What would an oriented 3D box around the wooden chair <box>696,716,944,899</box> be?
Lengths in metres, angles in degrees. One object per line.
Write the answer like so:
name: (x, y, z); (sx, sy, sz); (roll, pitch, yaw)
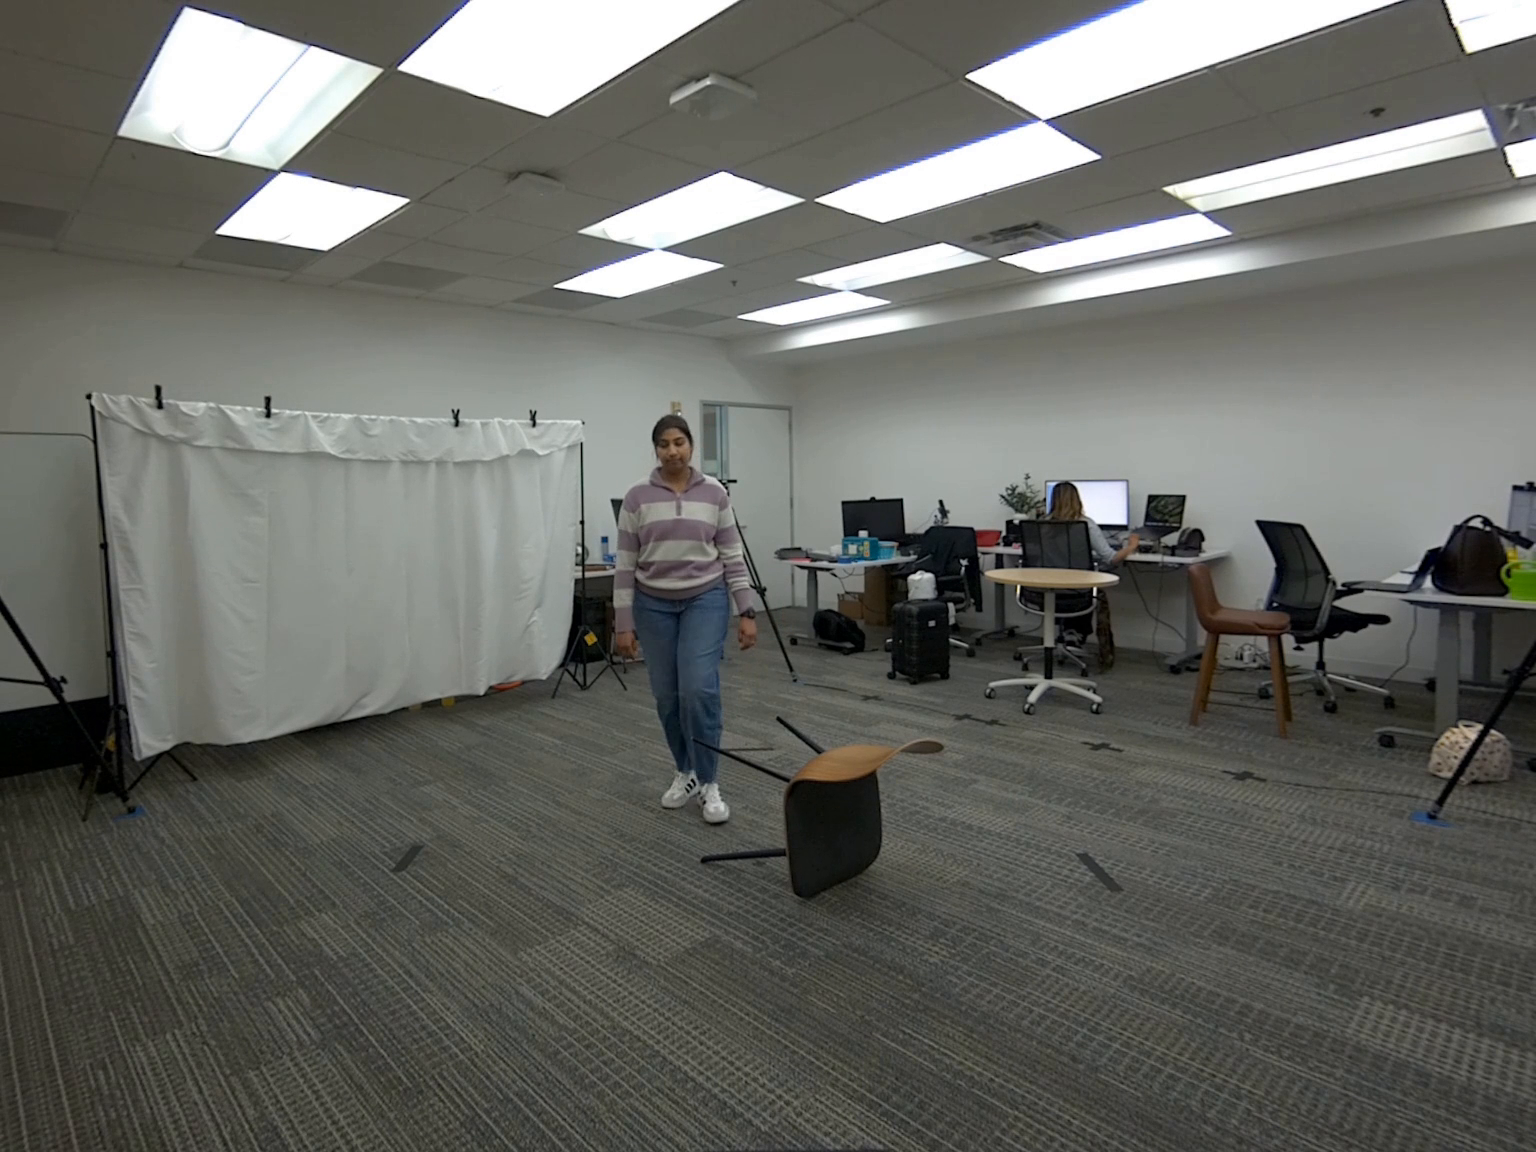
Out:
wooden chair: (0.197, 0.806, 2.952); (0.465, 0.525, 0.899); (-4, -3, -42)
